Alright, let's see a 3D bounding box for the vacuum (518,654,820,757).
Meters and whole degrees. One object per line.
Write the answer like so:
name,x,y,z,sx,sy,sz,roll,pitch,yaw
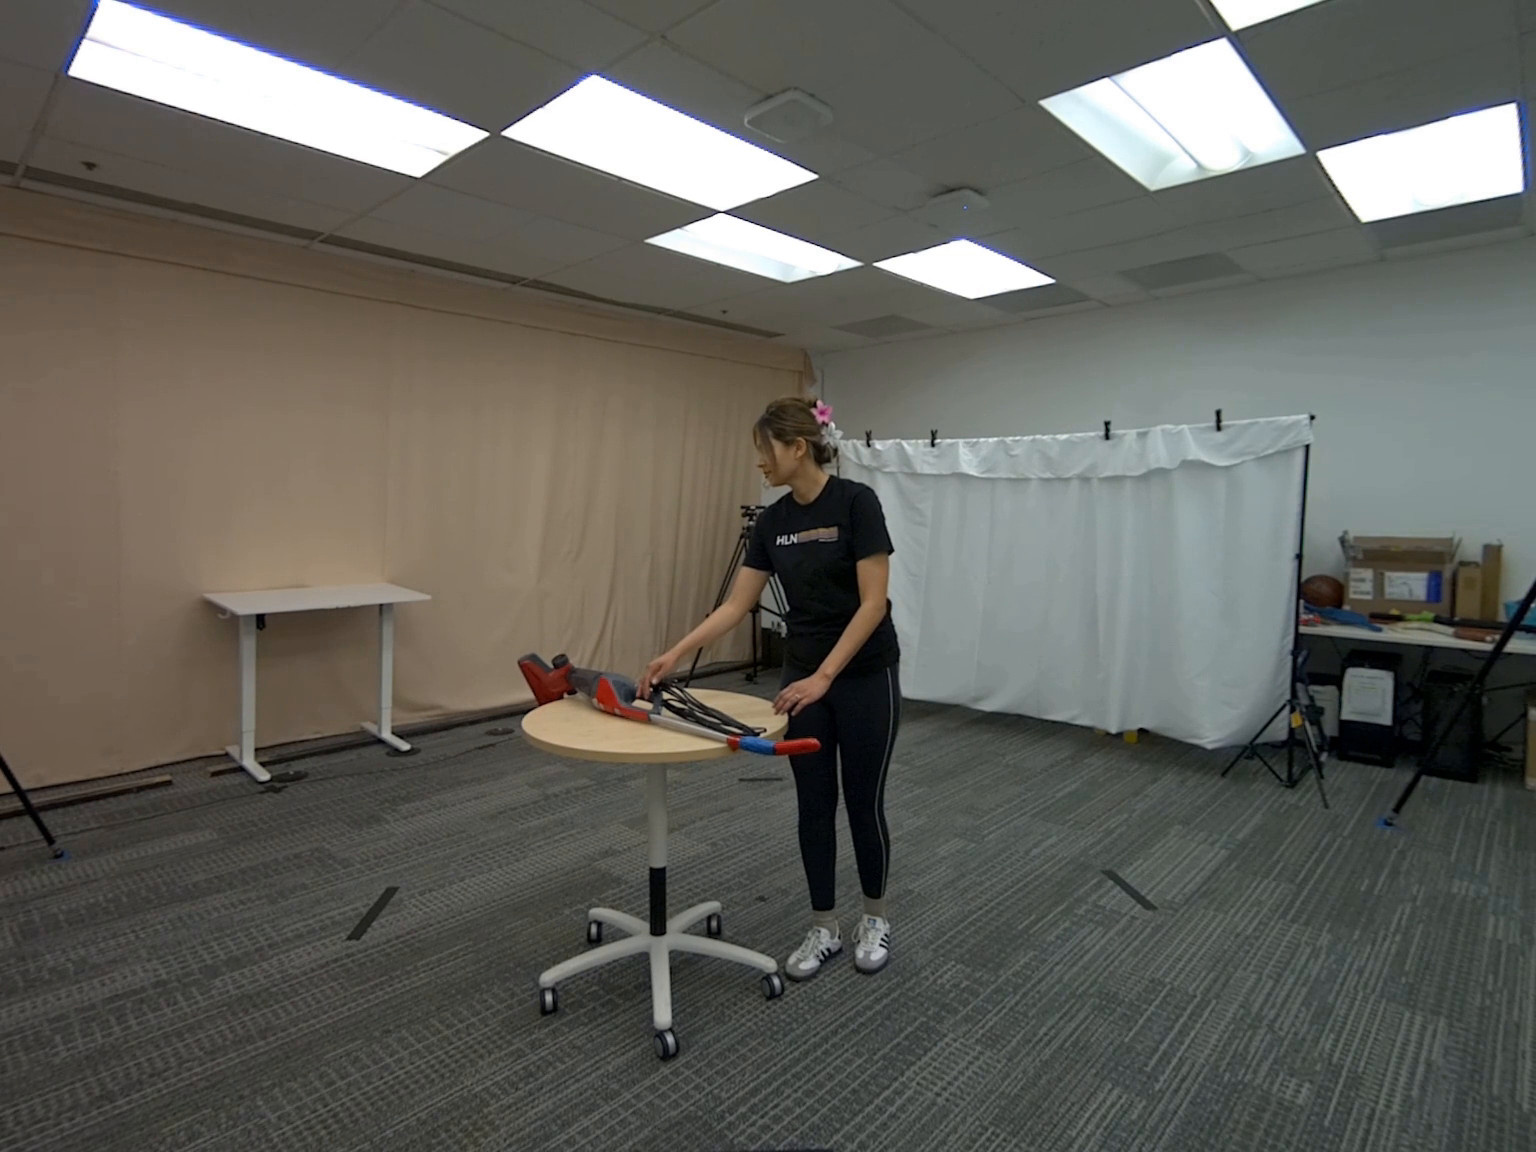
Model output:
vacuum,-0.304,0.379,2.366,1.084,0.247,0.142,5,35,41
